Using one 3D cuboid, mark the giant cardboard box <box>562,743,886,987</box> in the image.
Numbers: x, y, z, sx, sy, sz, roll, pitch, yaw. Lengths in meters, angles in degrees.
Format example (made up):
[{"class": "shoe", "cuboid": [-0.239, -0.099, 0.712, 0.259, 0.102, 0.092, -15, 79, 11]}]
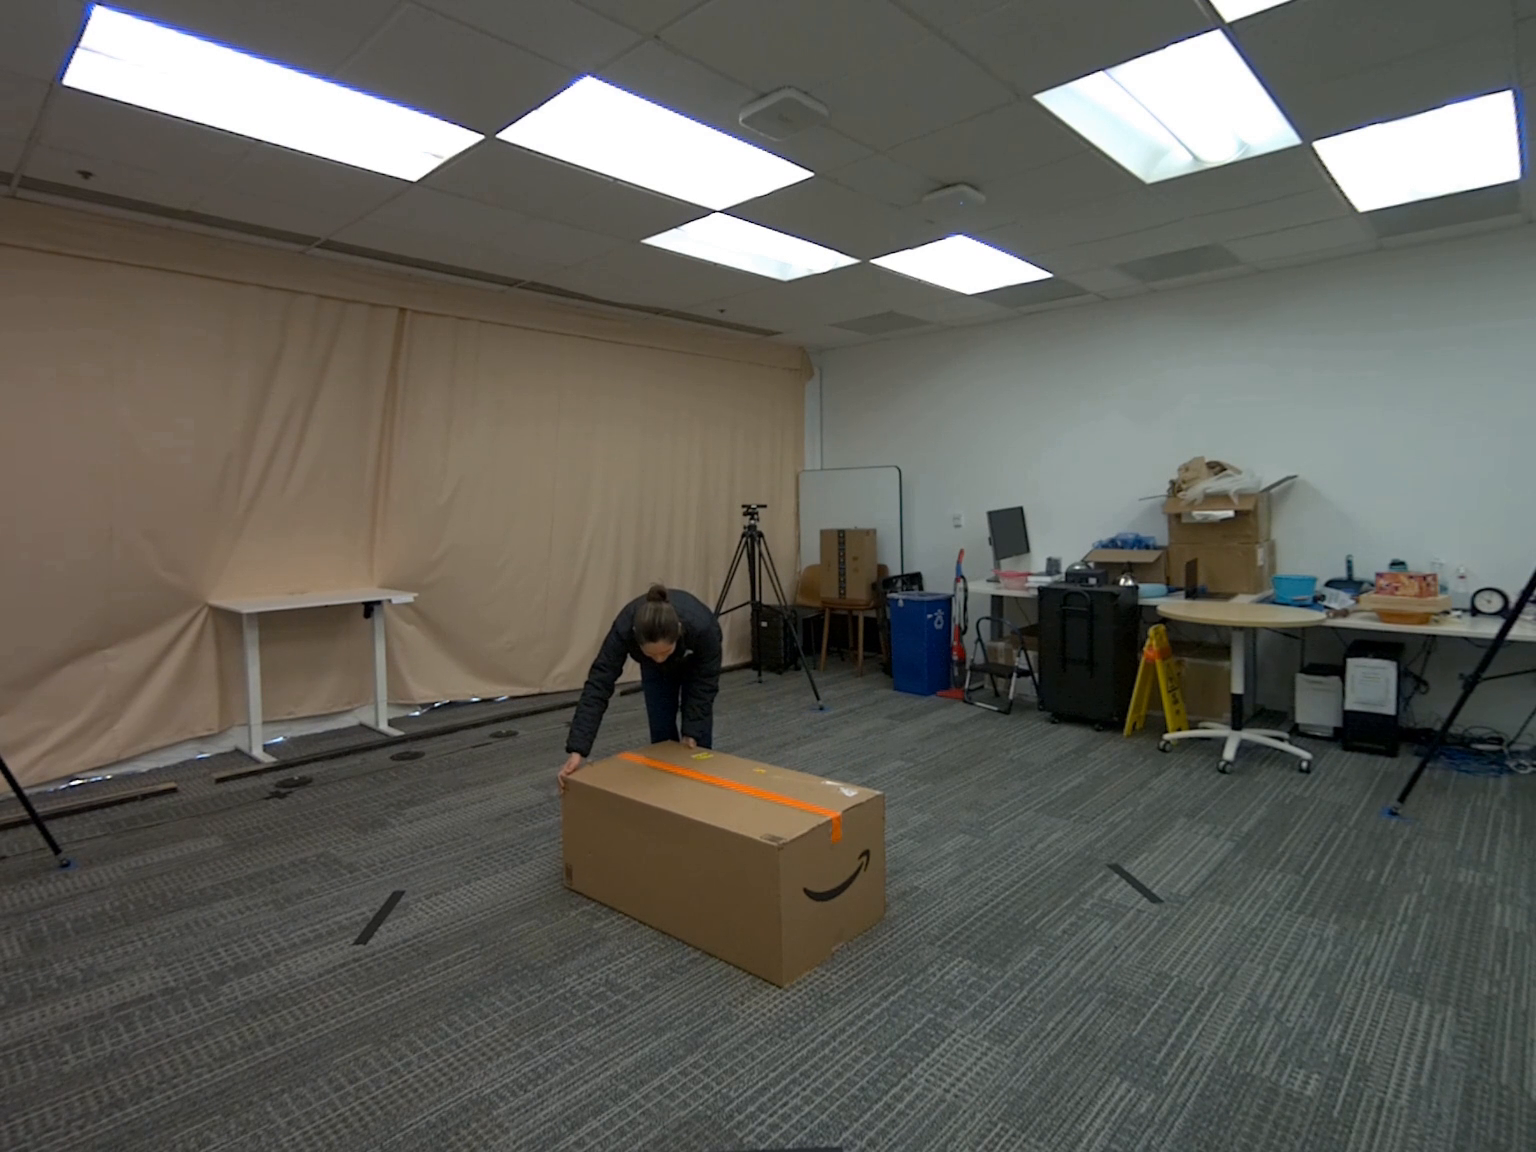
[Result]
[{"class": "giant cardboard box", "cuboid": [-0.167, 0.931, 2.954, 1.059, 0.425, 0.560, 3, 5, 40]}]
